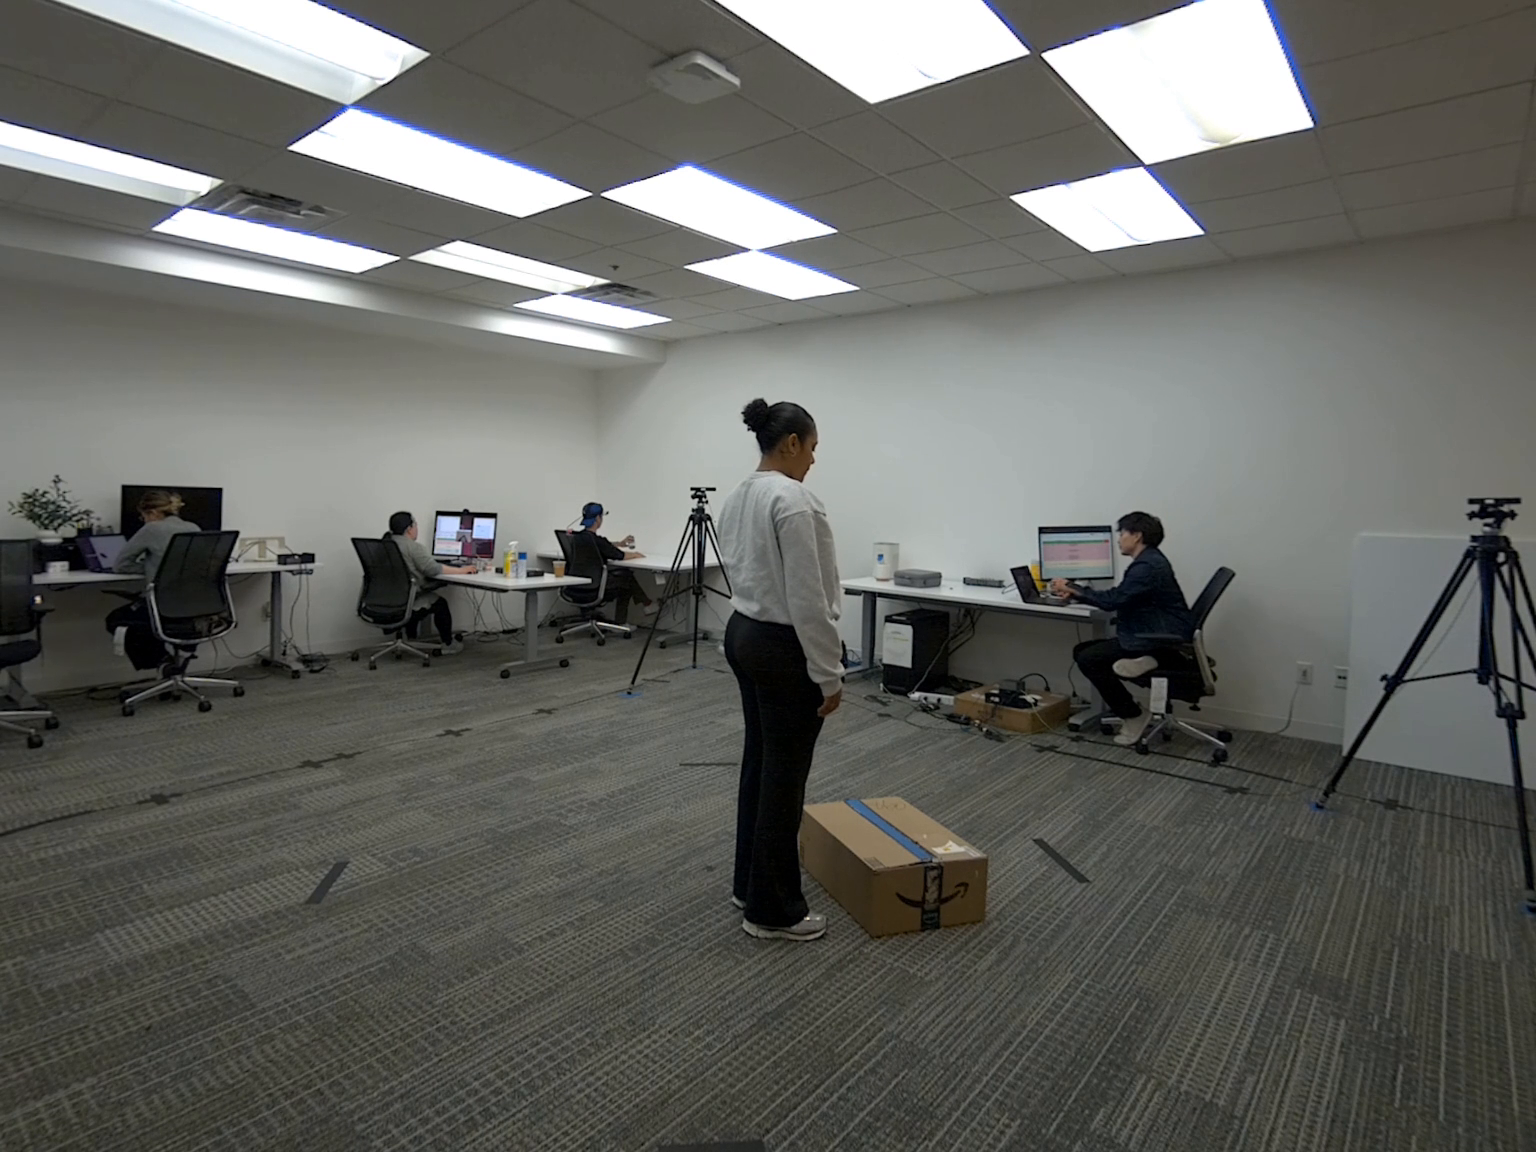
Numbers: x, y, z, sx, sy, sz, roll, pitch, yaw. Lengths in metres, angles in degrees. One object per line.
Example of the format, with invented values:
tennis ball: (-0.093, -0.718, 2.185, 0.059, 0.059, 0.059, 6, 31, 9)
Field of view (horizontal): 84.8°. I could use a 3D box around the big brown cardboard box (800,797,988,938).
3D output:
big brown cardboard box: (0.407, 0.981, 2.964, 0.409, 0.232, 0.603, 0, 5, -21)
